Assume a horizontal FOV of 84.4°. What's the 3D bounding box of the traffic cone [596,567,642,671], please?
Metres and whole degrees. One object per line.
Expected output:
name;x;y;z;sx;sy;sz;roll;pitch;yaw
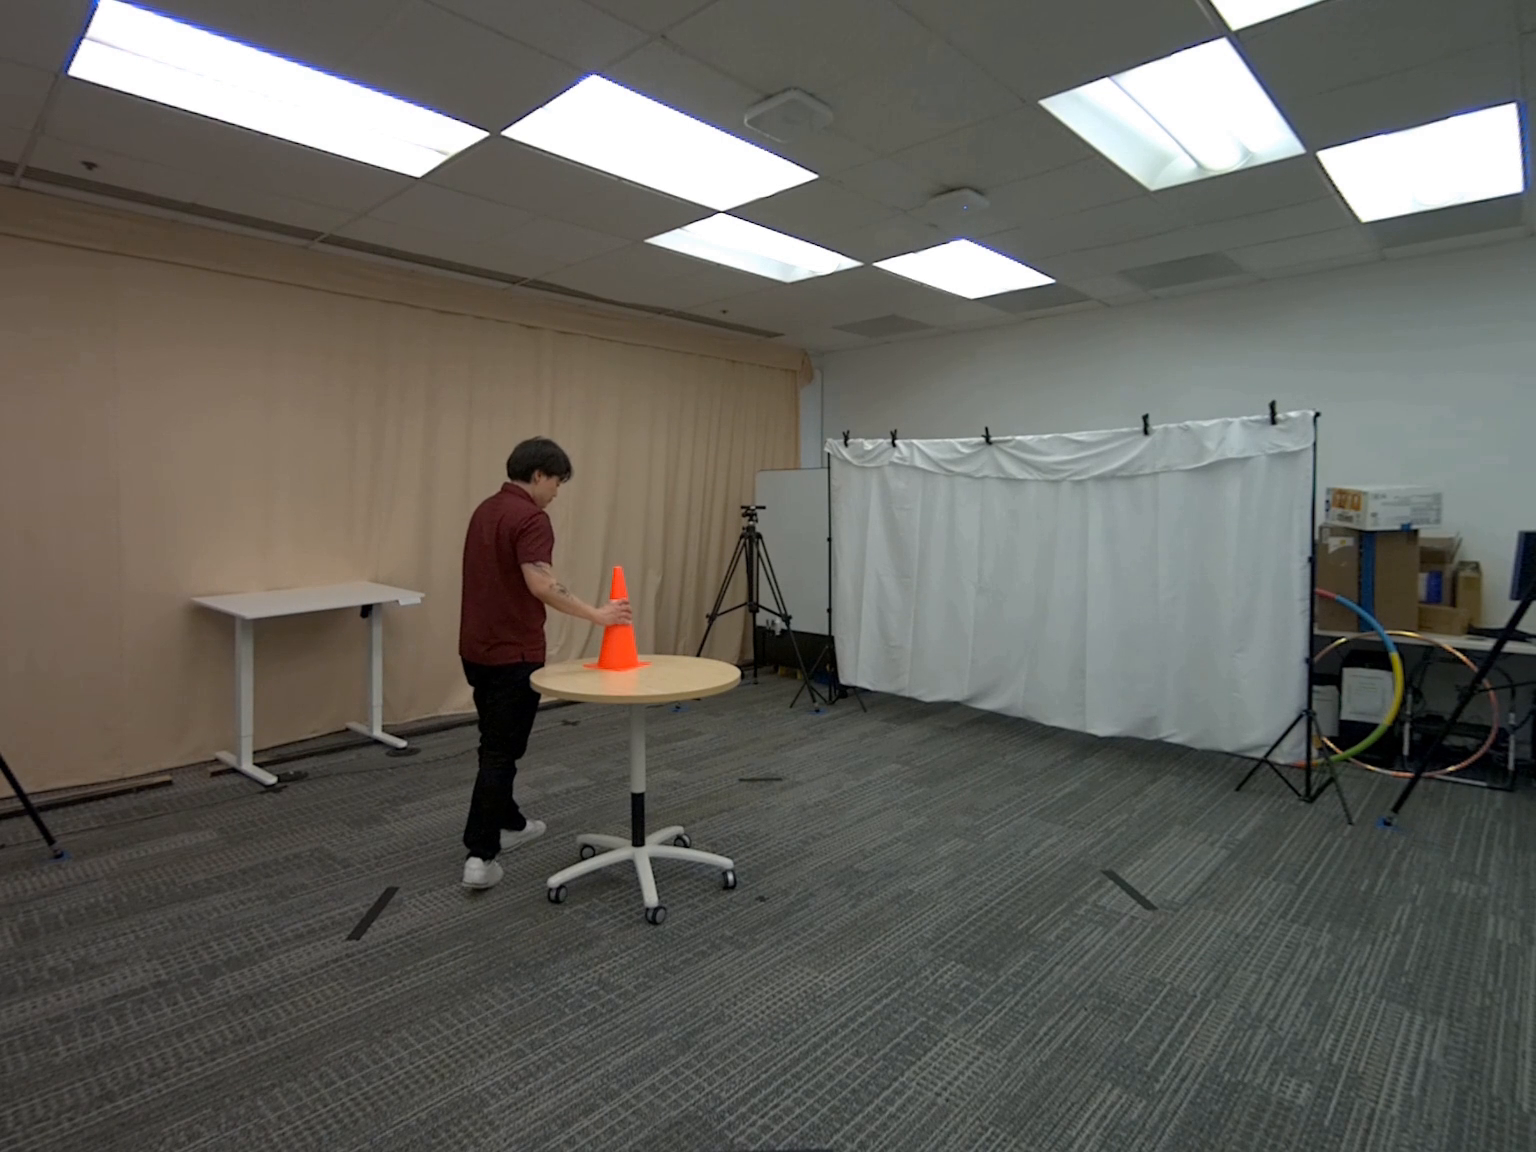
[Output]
traffic cone;-0.577;0.157;3.238;0.211;0.383;0.198;3;3;31
